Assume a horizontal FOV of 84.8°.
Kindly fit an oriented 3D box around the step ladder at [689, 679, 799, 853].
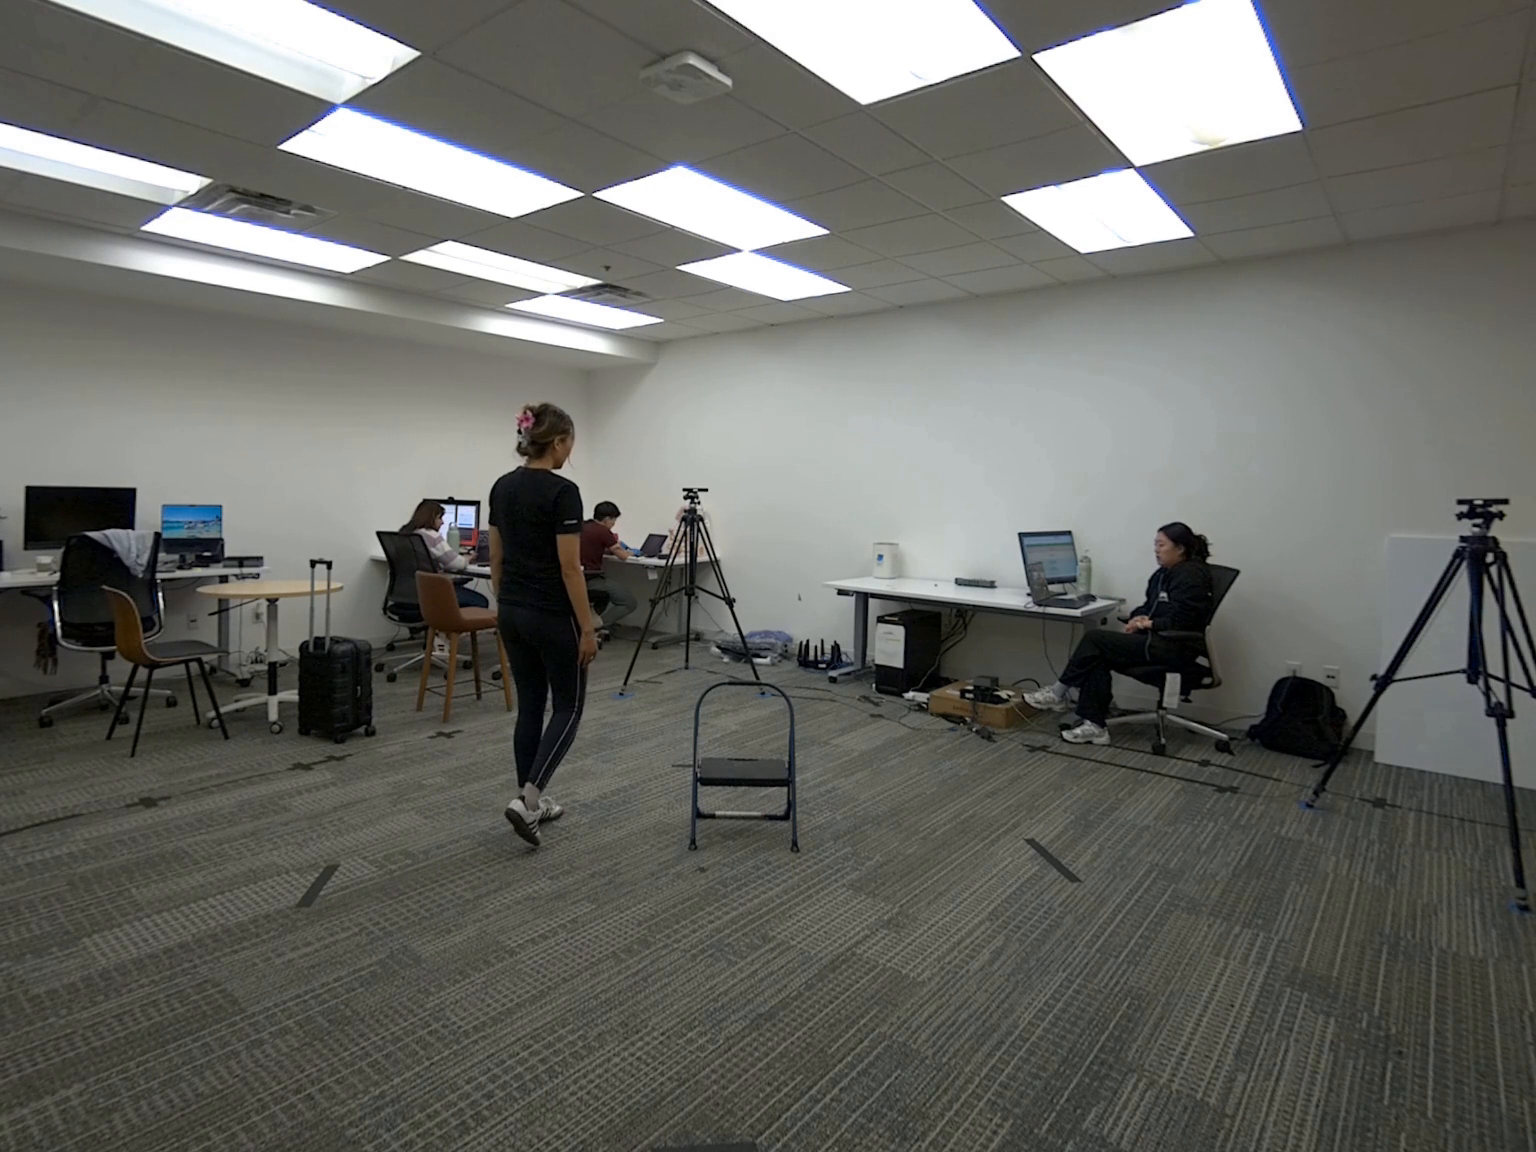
[{"bbox_3d":[-0.104,0.741,3.432,0.430,0.604,0.351,1,4,-2],"label":"step ladder"}]
